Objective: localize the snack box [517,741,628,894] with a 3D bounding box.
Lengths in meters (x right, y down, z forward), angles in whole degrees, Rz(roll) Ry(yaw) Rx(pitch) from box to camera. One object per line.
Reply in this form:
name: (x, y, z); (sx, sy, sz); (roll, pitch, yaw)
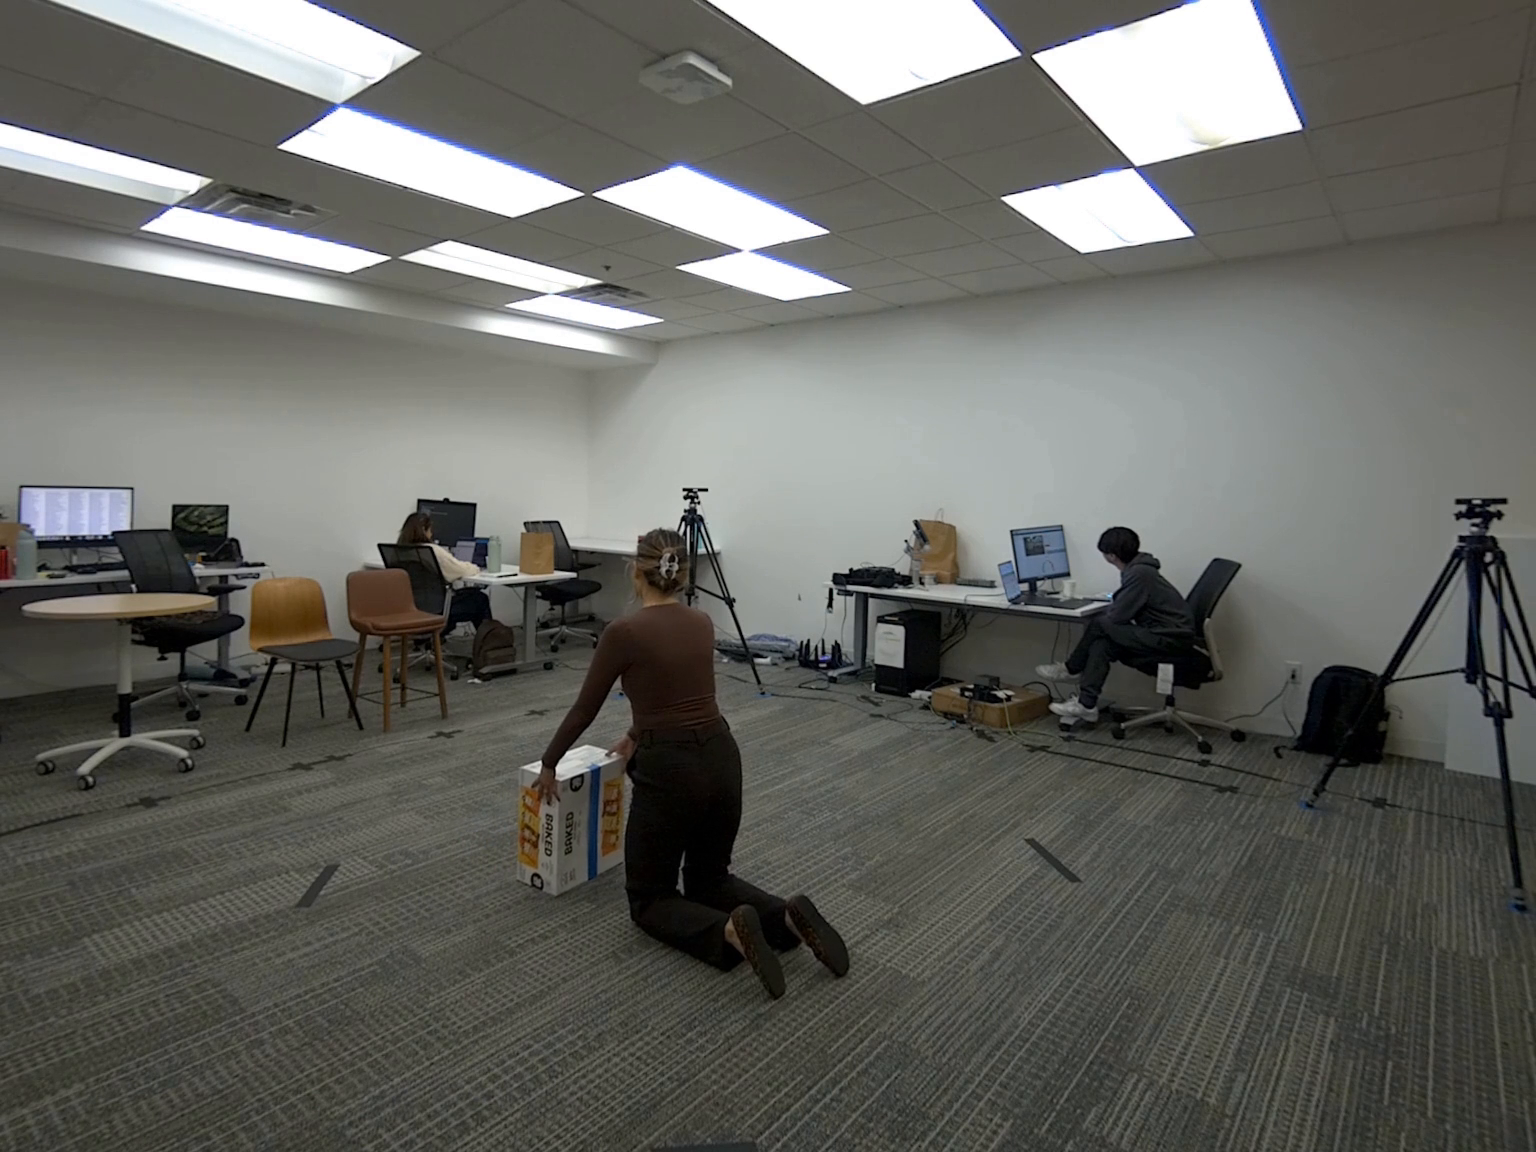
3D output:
snack box: (-0.710, 0.860, 3.057); (0.212, 0.404, 0.331); (5, 5, 33)
